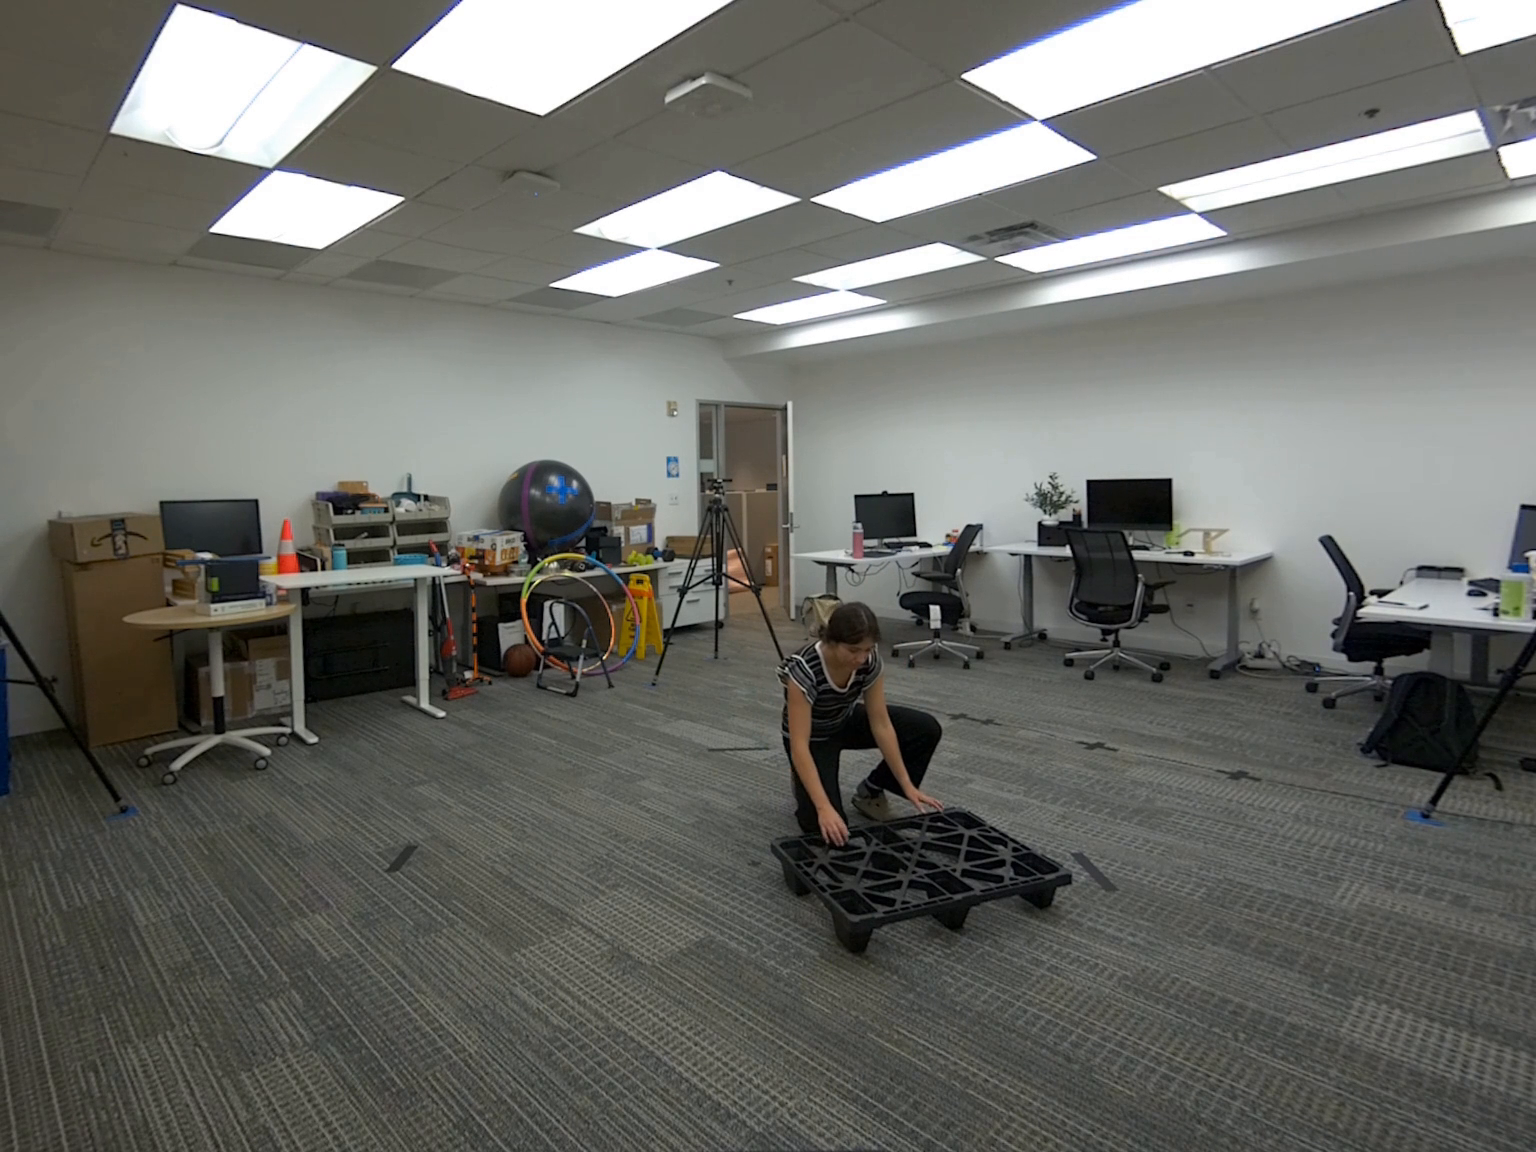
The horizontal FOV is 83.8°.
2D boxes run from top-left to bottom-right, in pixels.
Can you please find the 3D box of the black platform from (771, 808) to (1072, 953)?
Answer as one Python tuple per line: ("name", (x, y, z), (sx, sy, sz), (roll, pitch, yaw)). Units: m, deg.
("black platform", (0.492, 1.002, 2.847), (0.791, 0.142, 0.620), (-4, 8, -21))
